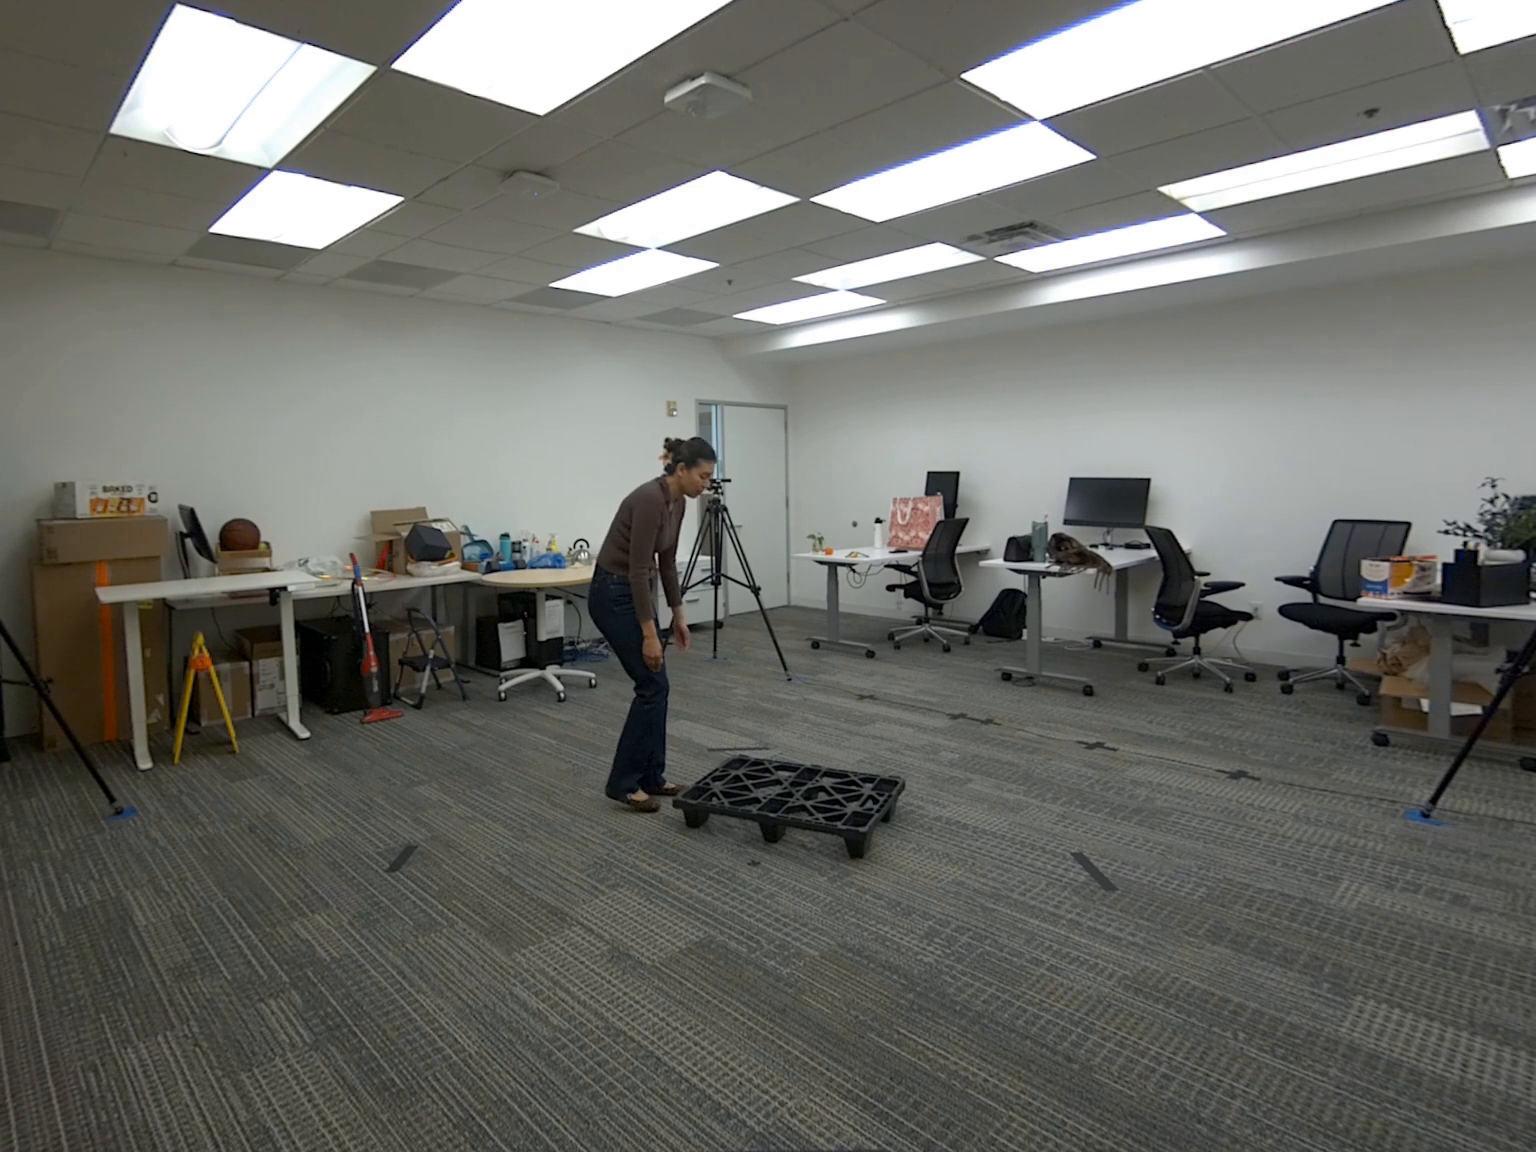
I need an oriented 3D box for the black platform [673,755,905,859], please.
[{"bbox_3d":[0.096,0.930,3.491,0.824,0.143,0.594,2,6,25],"label":"black platform"}]
